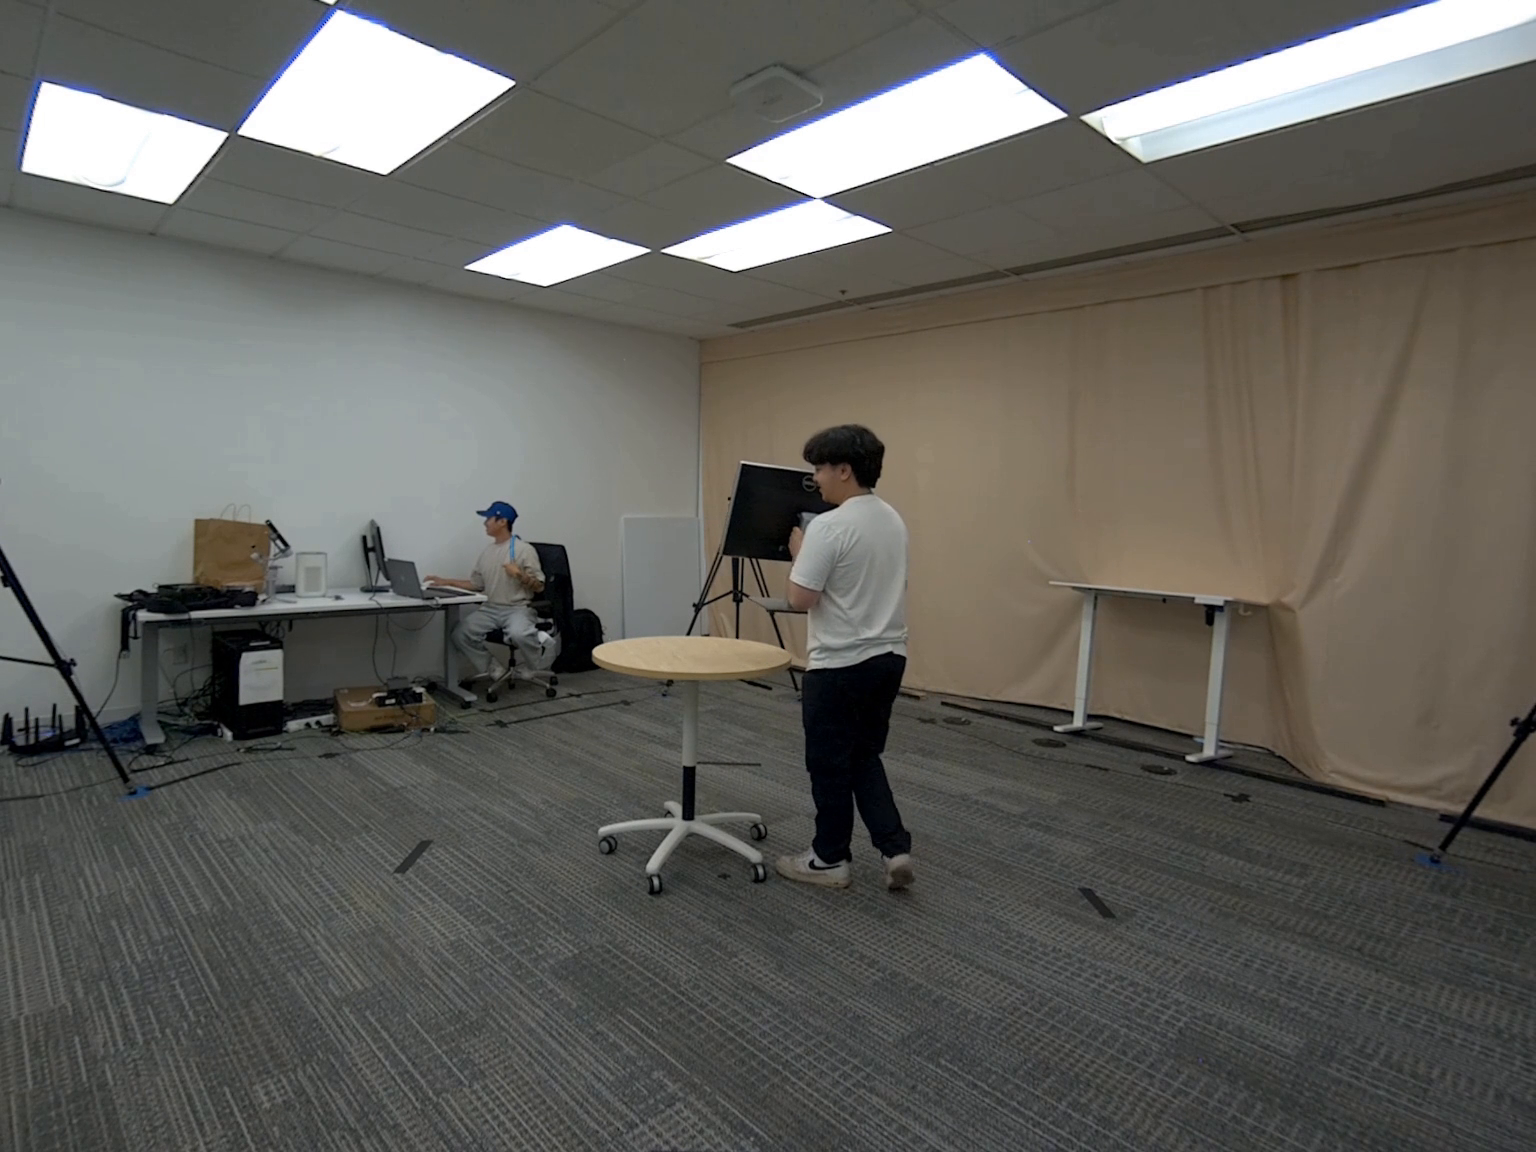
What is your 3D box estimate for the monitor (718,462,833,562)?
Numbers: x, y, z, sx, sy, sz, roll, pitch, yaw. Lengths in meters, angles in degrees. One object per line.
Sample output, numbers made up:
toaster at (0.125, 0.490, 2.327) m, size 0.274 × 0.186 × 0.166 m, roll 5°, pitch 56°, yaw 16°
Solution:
monitor at (0.121, -0.118, 3.147) m, size 0.555 × 0.550 × 0.215 m, roll 5°, pitch 13°, yaw -24°
